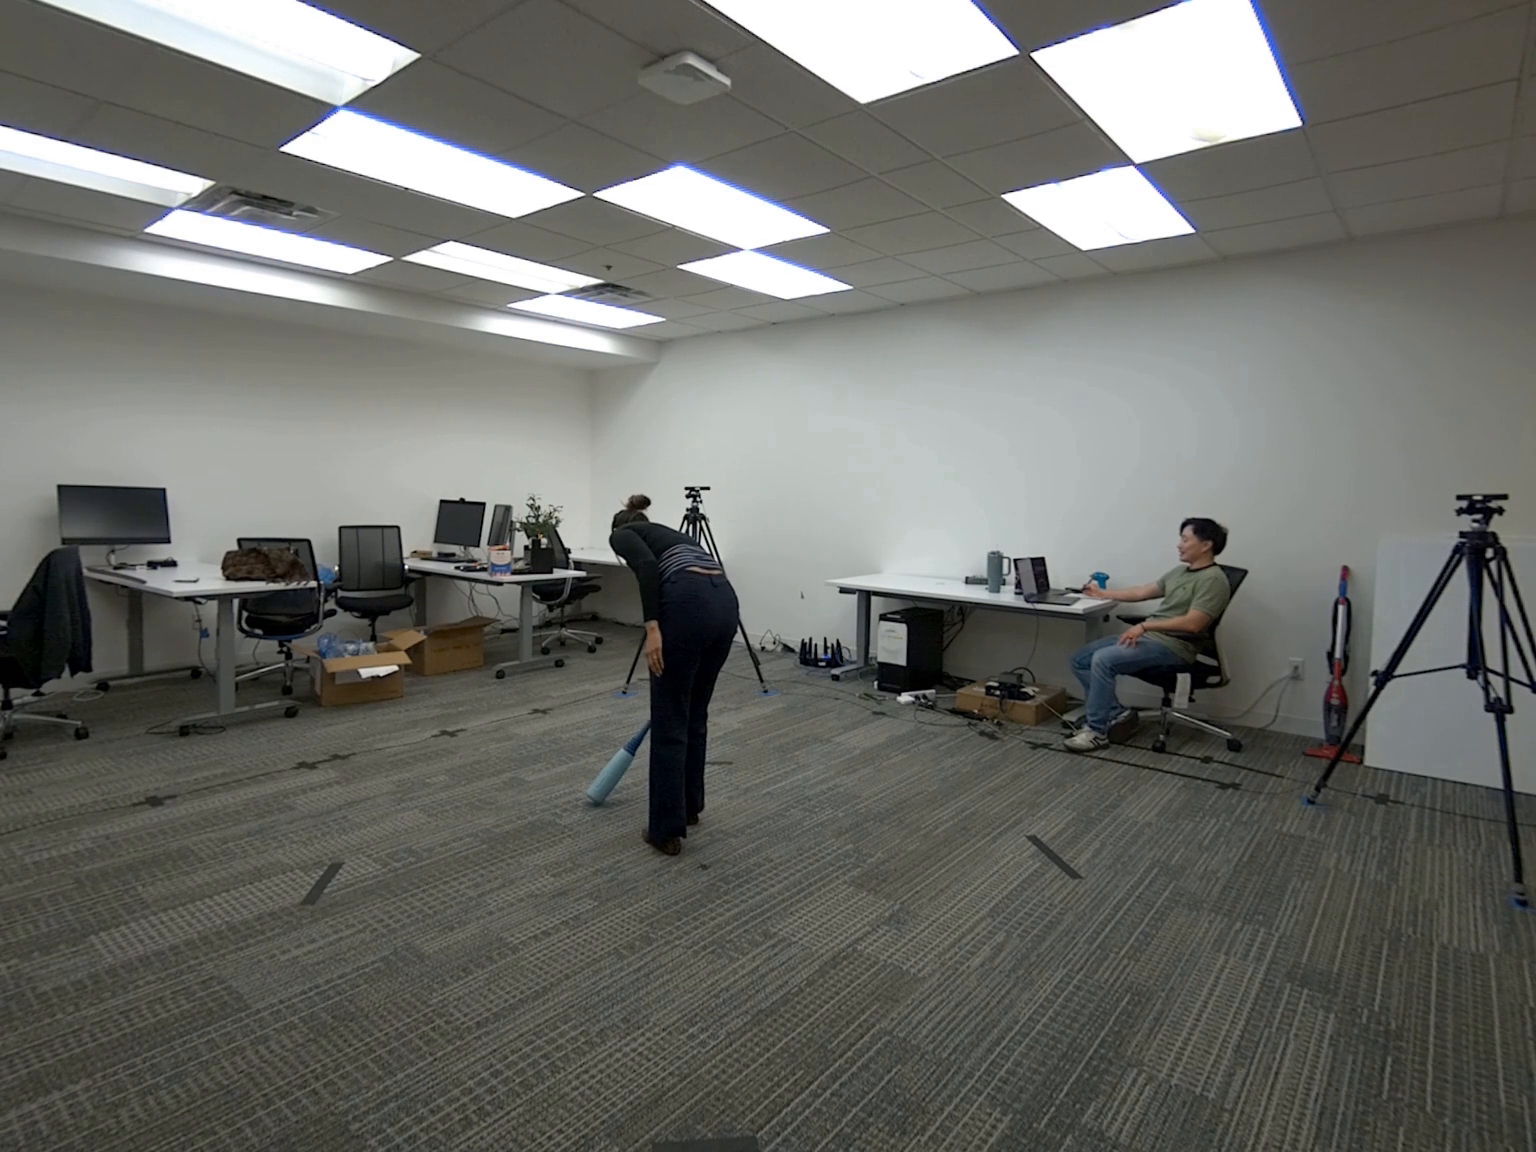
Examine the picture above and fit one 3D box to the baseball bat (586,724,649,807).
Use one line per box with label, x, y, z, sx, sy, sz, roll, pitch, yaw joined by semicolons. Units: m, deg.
baseball bat;-0.625;0.771;3.797;0.090;0.544;0.087;33;-18;10
